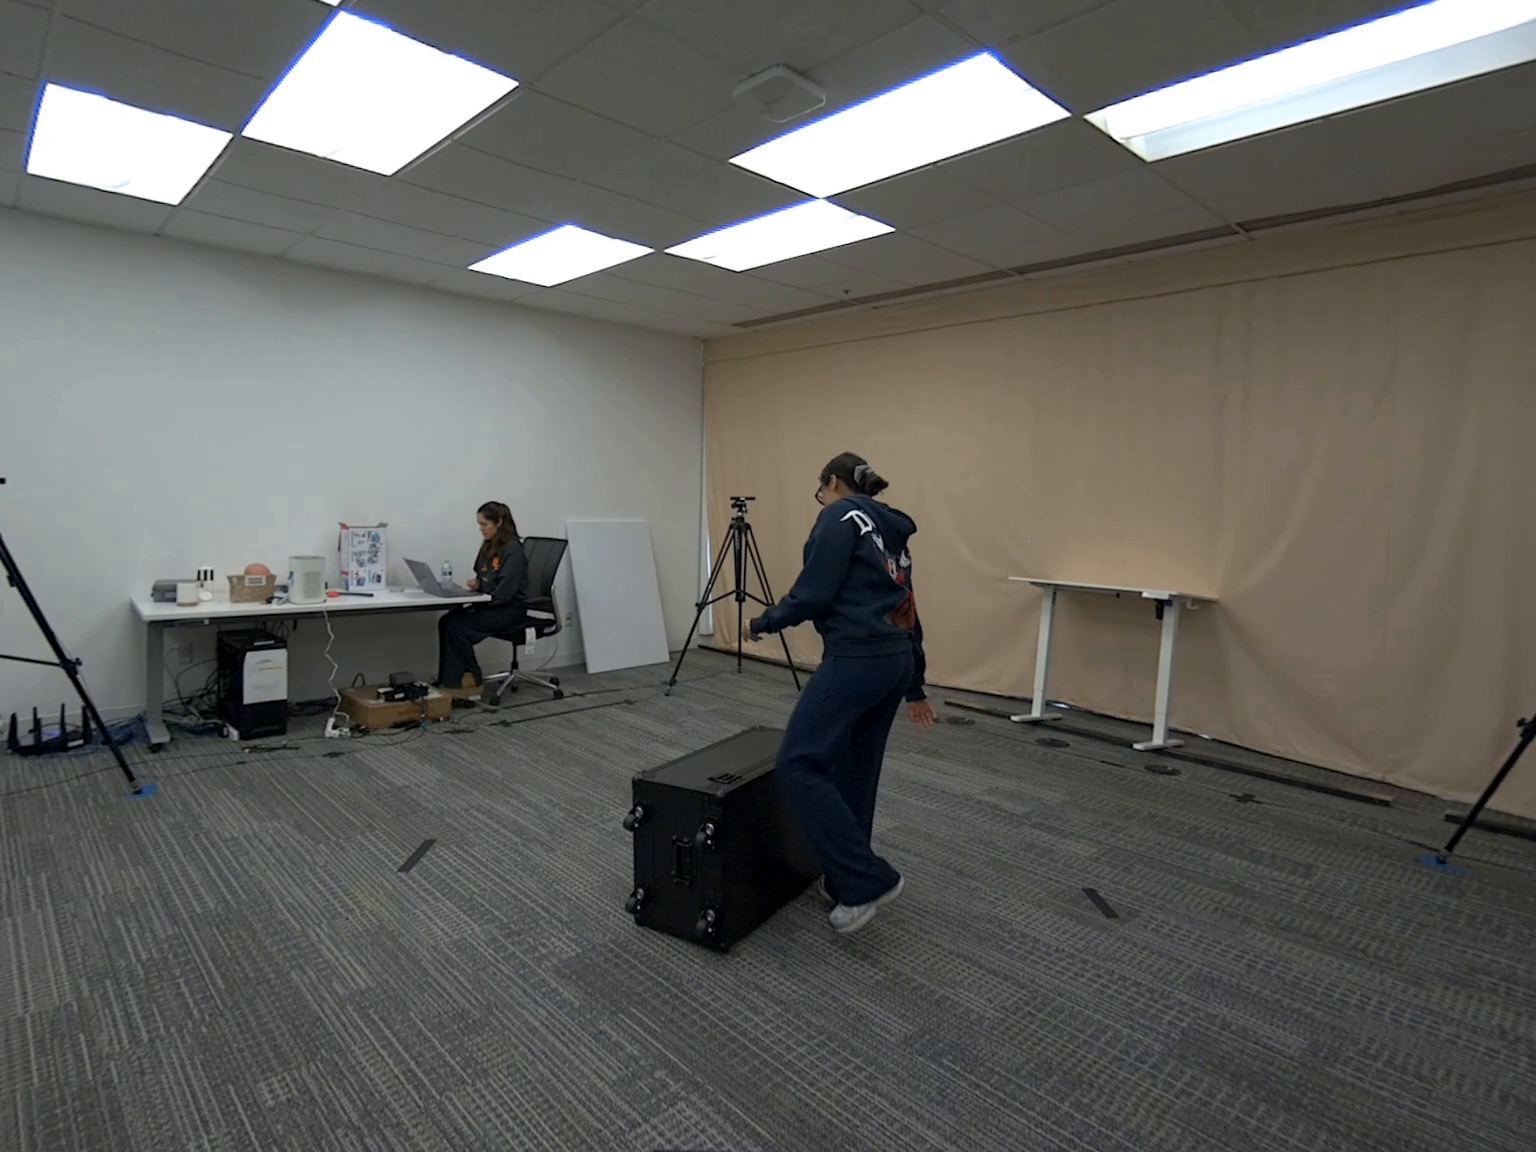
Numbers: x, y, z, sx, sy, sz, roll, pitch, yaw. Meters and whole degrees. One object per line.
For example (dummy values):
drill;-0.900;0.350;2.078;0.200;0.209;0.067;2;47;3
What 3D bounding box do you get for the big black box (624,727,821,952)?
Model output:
big black box;-0.118;0.865;2.942;0.405;0.520;0.845;1;4;30
